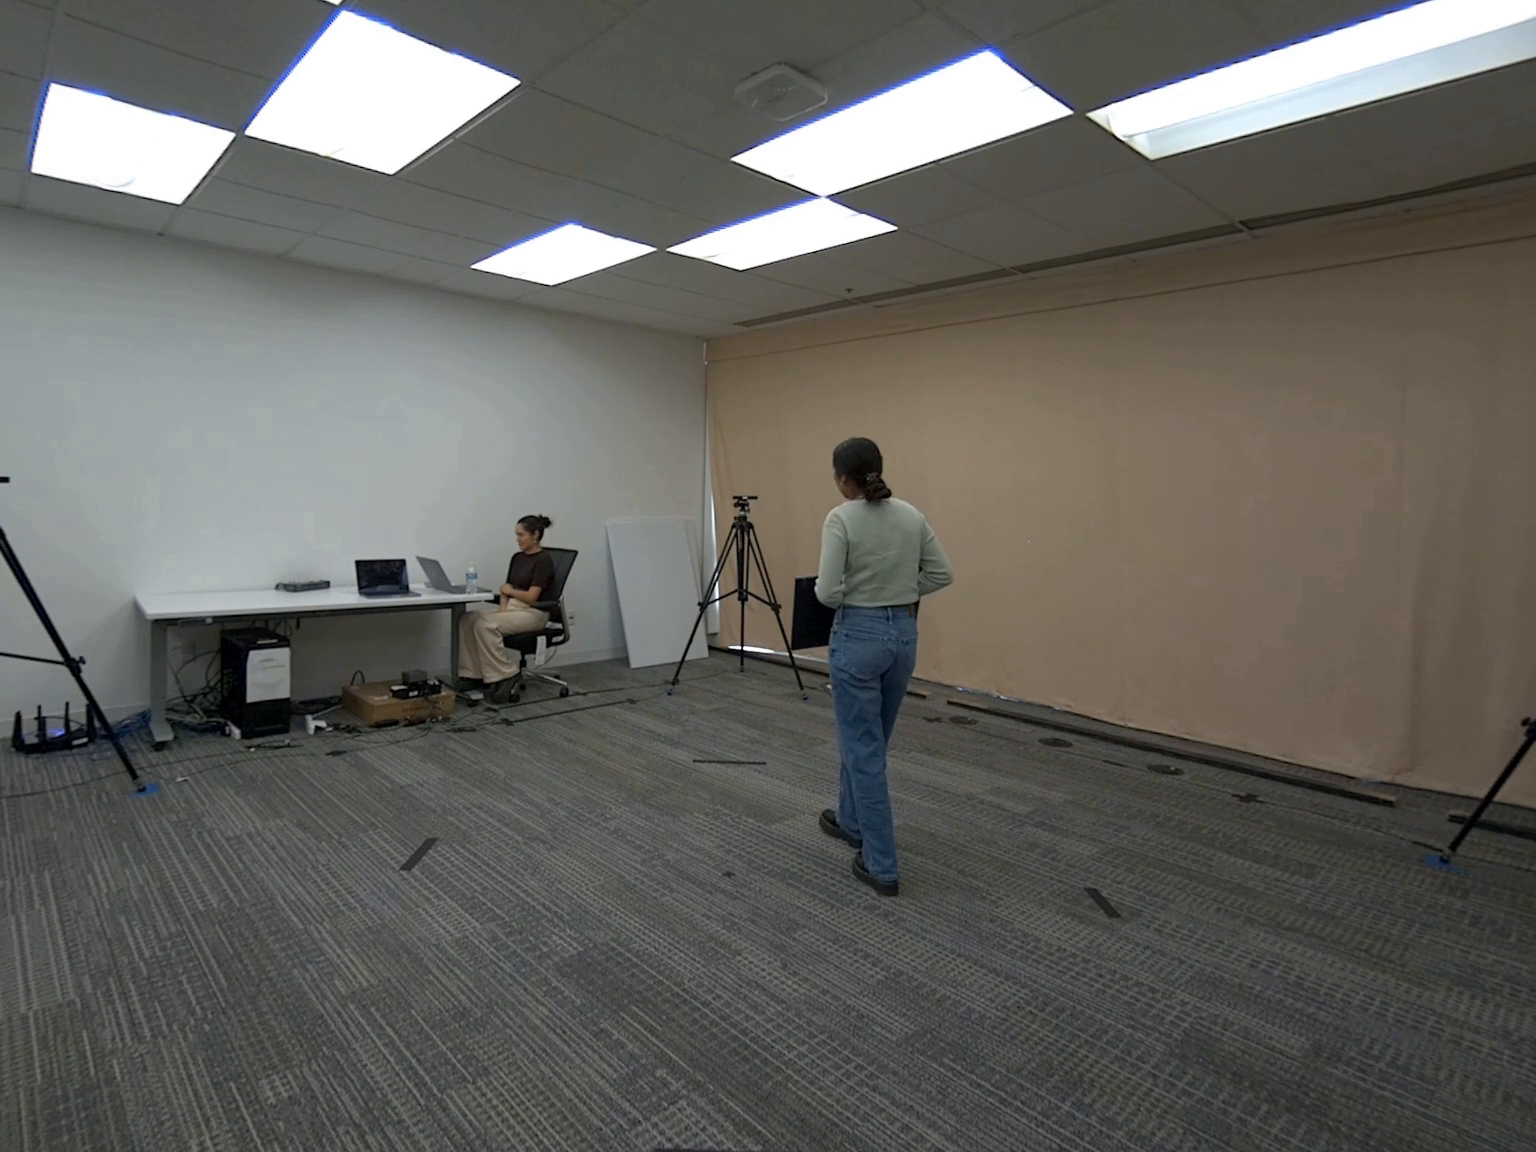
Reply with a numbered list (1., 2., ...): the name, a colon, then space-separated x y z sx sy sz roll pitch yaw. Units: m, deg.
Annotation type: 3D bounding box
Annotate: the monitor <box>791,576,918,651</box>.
1. monitor: 0.366 0.211 3.390 0.527 0.510 0.177 -6 13 -7
